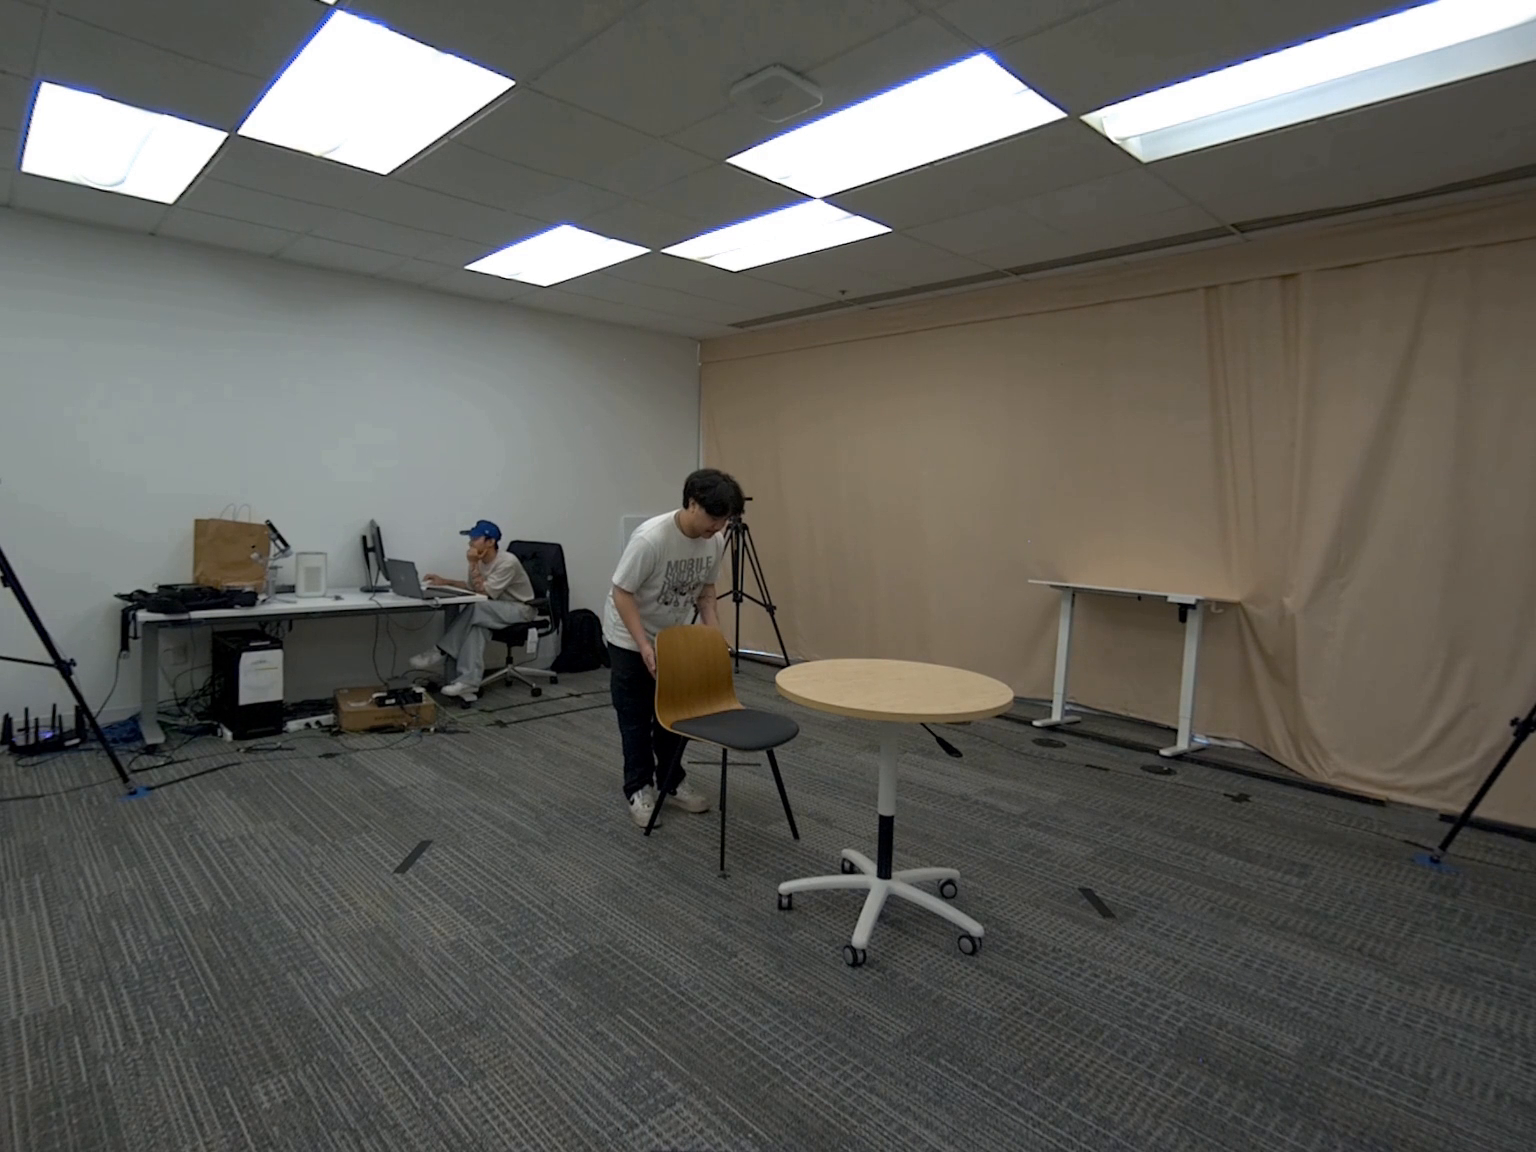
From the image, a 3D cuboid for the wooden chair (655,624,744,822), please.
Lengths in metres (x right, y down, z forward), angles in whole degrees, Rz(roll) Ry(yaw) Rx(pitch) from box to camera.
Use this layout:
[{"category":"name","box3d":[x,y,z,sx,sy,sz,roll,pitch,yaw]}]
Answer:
[{"category":"wooden chair","box3d":[-0.177,0.649,3.421,0.535,0.878,0.467,-2,0,43]}]
